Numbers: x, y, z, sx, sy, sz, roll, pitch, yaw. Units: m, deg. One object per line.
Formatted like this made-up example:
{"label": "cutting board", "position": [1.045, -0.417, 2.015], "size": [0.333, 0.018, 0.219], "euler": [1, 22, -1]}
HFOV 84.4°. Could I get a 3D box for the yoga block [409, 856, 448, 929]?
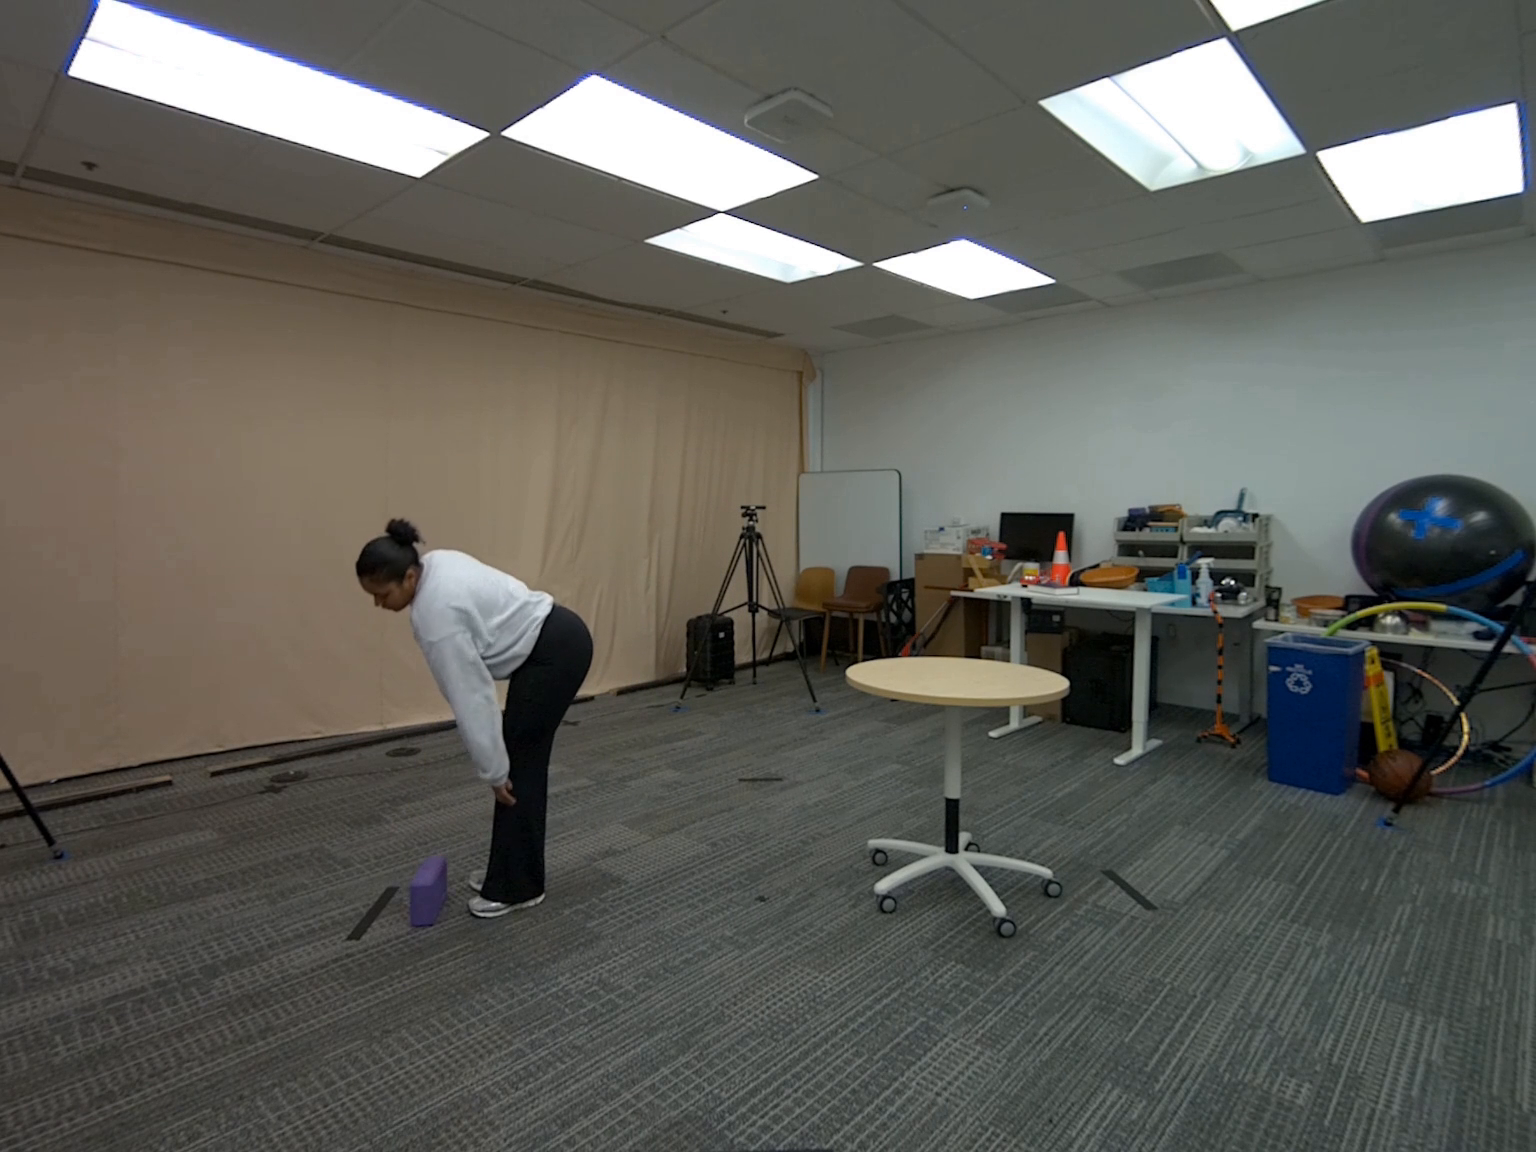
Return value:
{"label": "yoga block", "position": [-1.172, 1.087, 2.907], "size": [0.076, 0.148, 0.232], "euler": [-1, 4, -11]}
